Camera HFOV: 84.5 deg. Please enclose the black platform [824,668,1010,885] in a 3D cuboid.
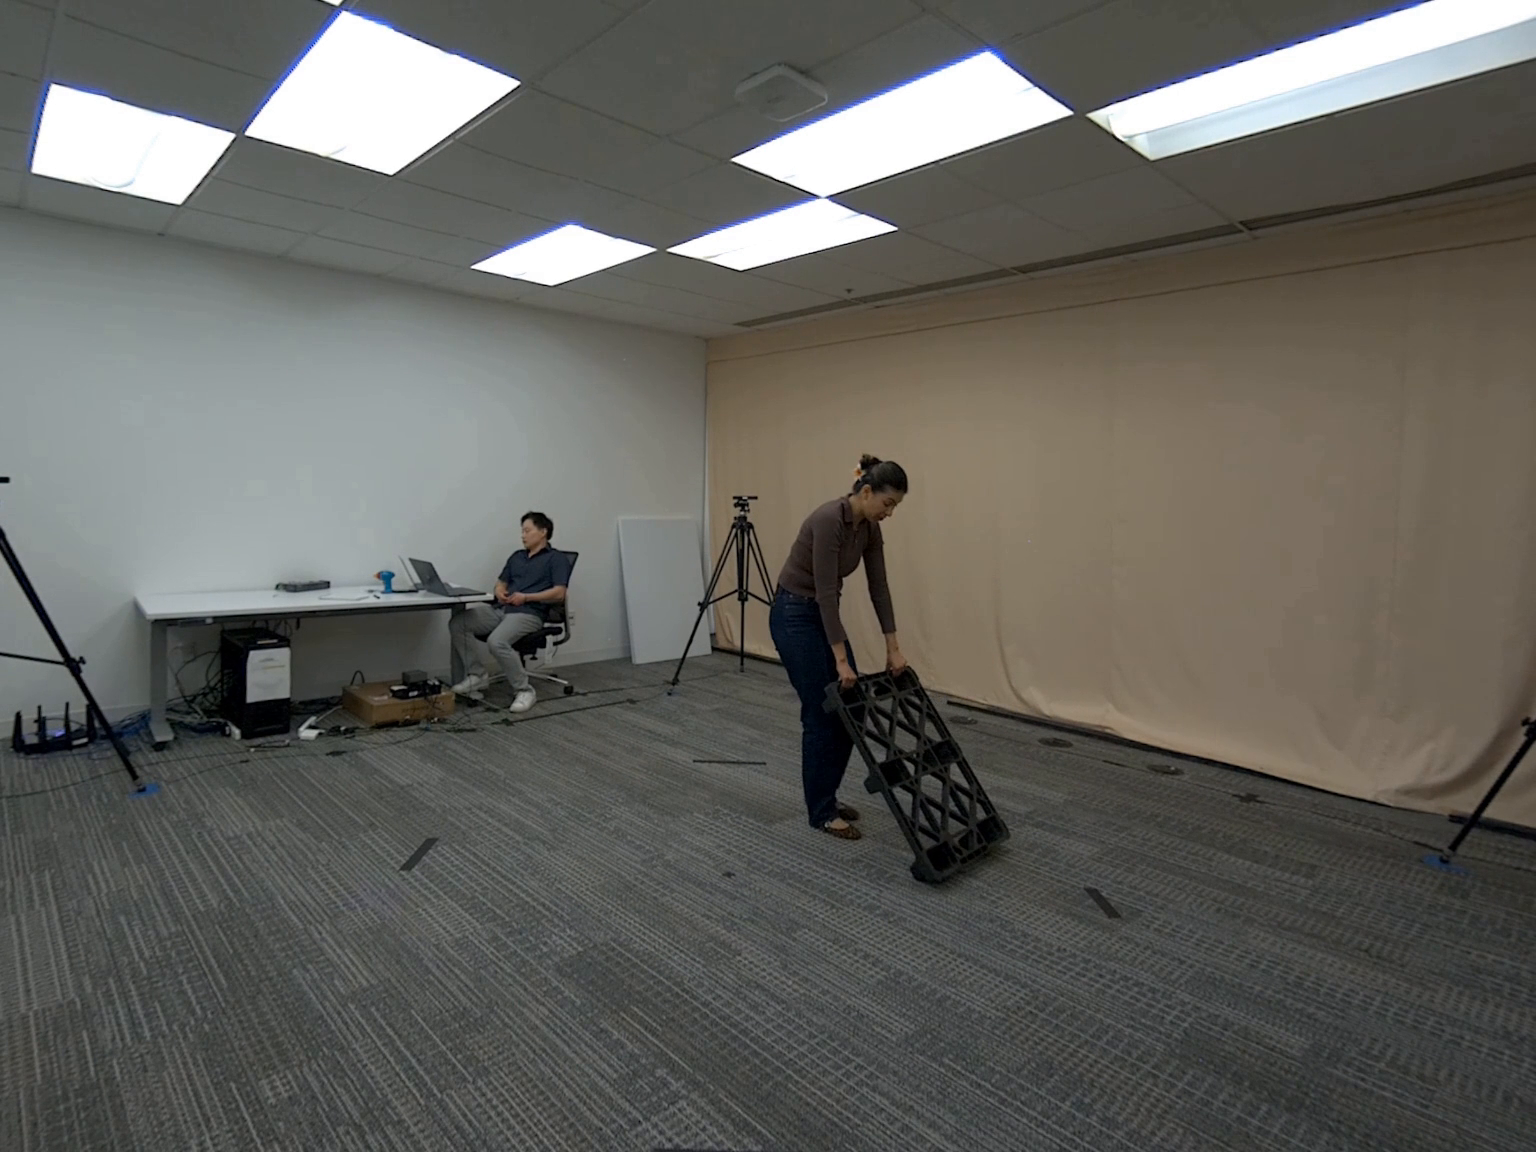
[{"bbox_3d":[0.569,0.766,3.376,0.591,0.823,0.143,-1,-35,-48],"label":"black platform"}]
